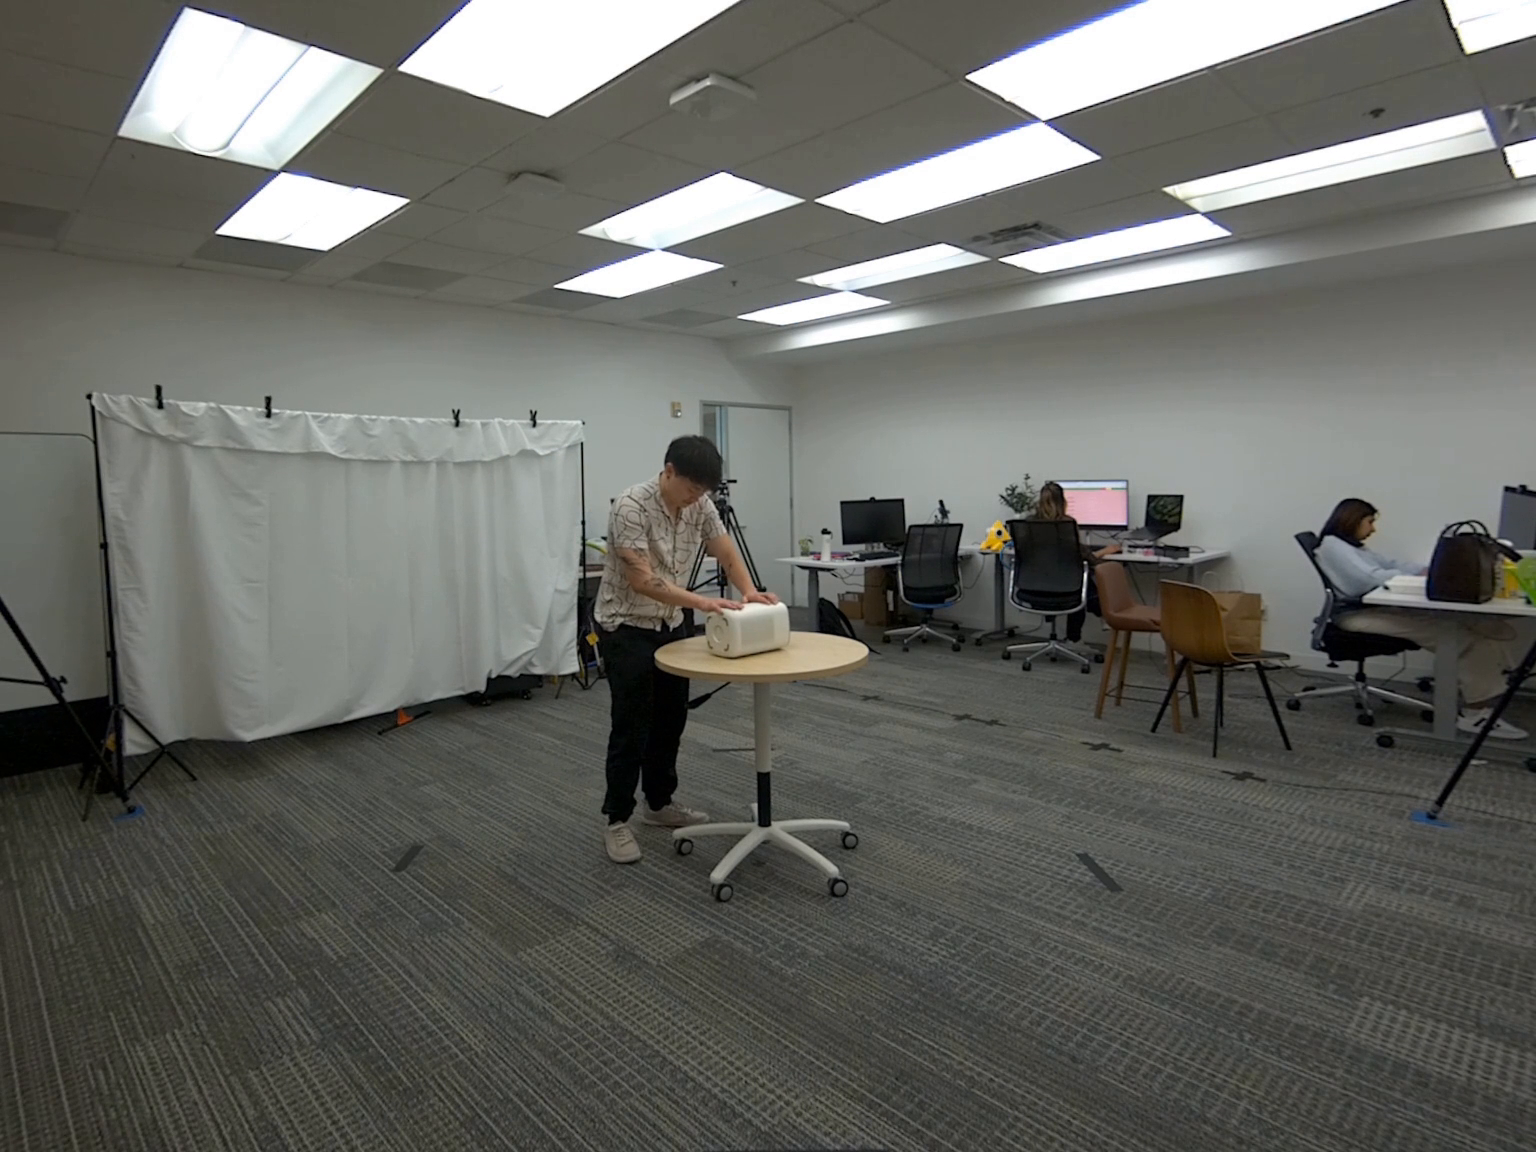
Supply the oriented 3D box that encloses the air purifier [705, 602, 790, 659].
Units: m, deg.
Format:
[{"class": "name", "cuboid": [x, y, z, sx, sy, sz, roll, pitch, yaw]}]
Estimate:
[{"class": "air purifier", "cuboid": [-0.077, 0.185, 3.040, 0.258, 0.171, 0.176, -6, 5, -40]}]
